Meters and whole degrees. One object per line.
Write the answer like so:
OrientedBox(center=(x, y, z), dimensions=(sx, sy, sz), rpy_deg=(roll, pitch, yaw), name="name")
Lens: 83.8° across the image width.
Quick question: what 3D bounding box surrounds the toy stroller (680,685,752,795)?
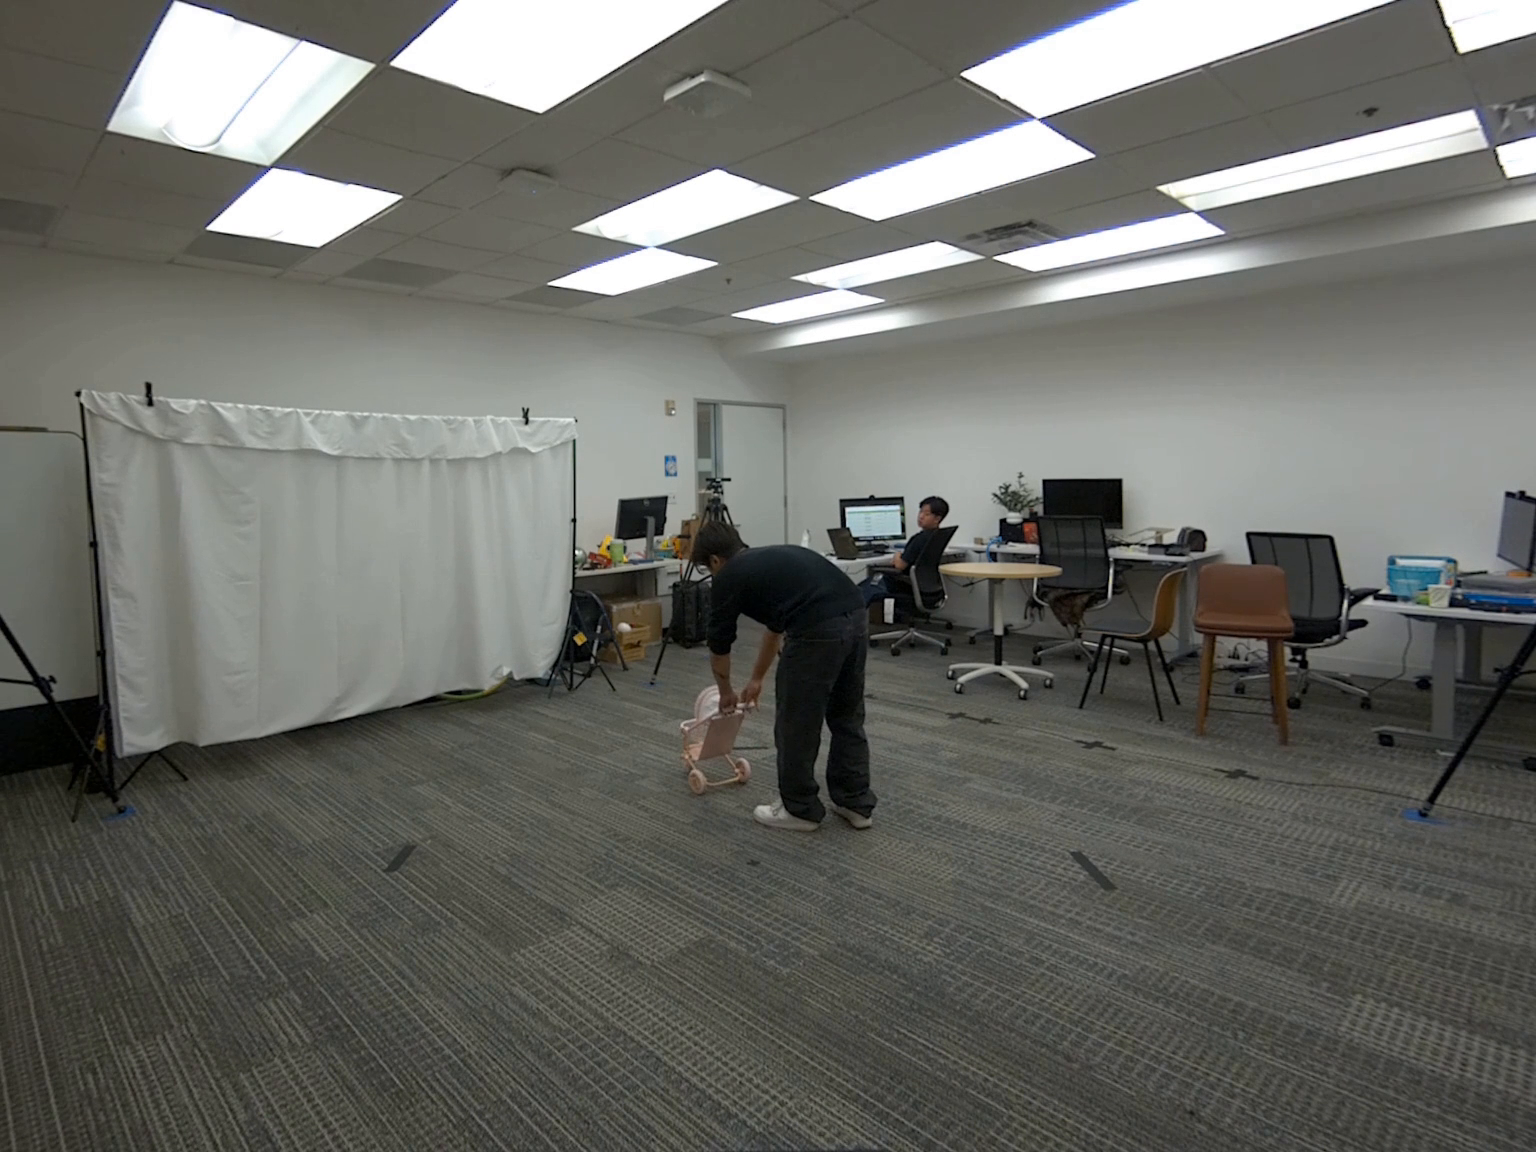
OrientedBox(center=(-0.250, 0.729, 3.898), dimensions=(0.274, 0.527, 0.354), rpy_deg=(-3, 23, -32), name="toy stroller")
